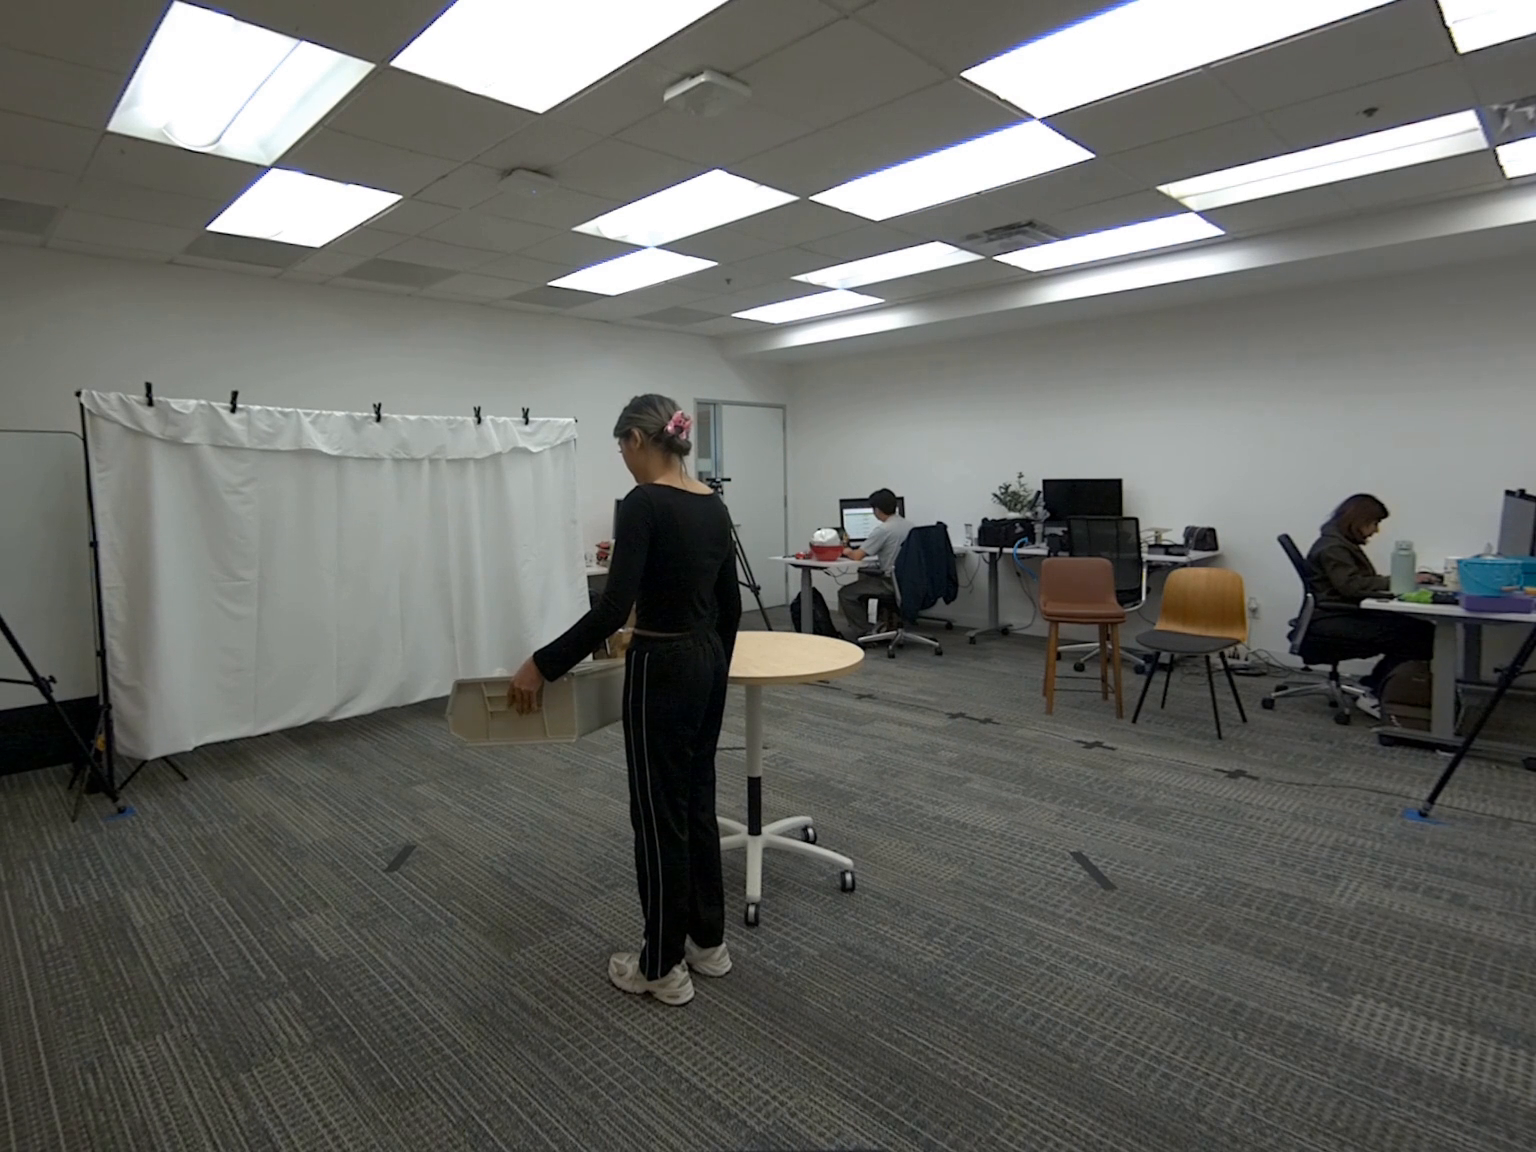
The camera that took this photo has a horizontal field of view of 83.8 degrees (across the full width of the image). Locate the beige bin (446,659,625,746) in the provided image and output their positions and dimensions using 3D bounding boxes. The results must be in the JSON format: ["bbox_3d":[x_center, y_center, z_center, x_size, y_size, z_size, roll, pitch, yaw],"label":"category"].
[{"bbox_3d":[-0.621,0.352,2.392,0.382,0.189,0.416,-4,-2,13],"label":"beige bin"}]
